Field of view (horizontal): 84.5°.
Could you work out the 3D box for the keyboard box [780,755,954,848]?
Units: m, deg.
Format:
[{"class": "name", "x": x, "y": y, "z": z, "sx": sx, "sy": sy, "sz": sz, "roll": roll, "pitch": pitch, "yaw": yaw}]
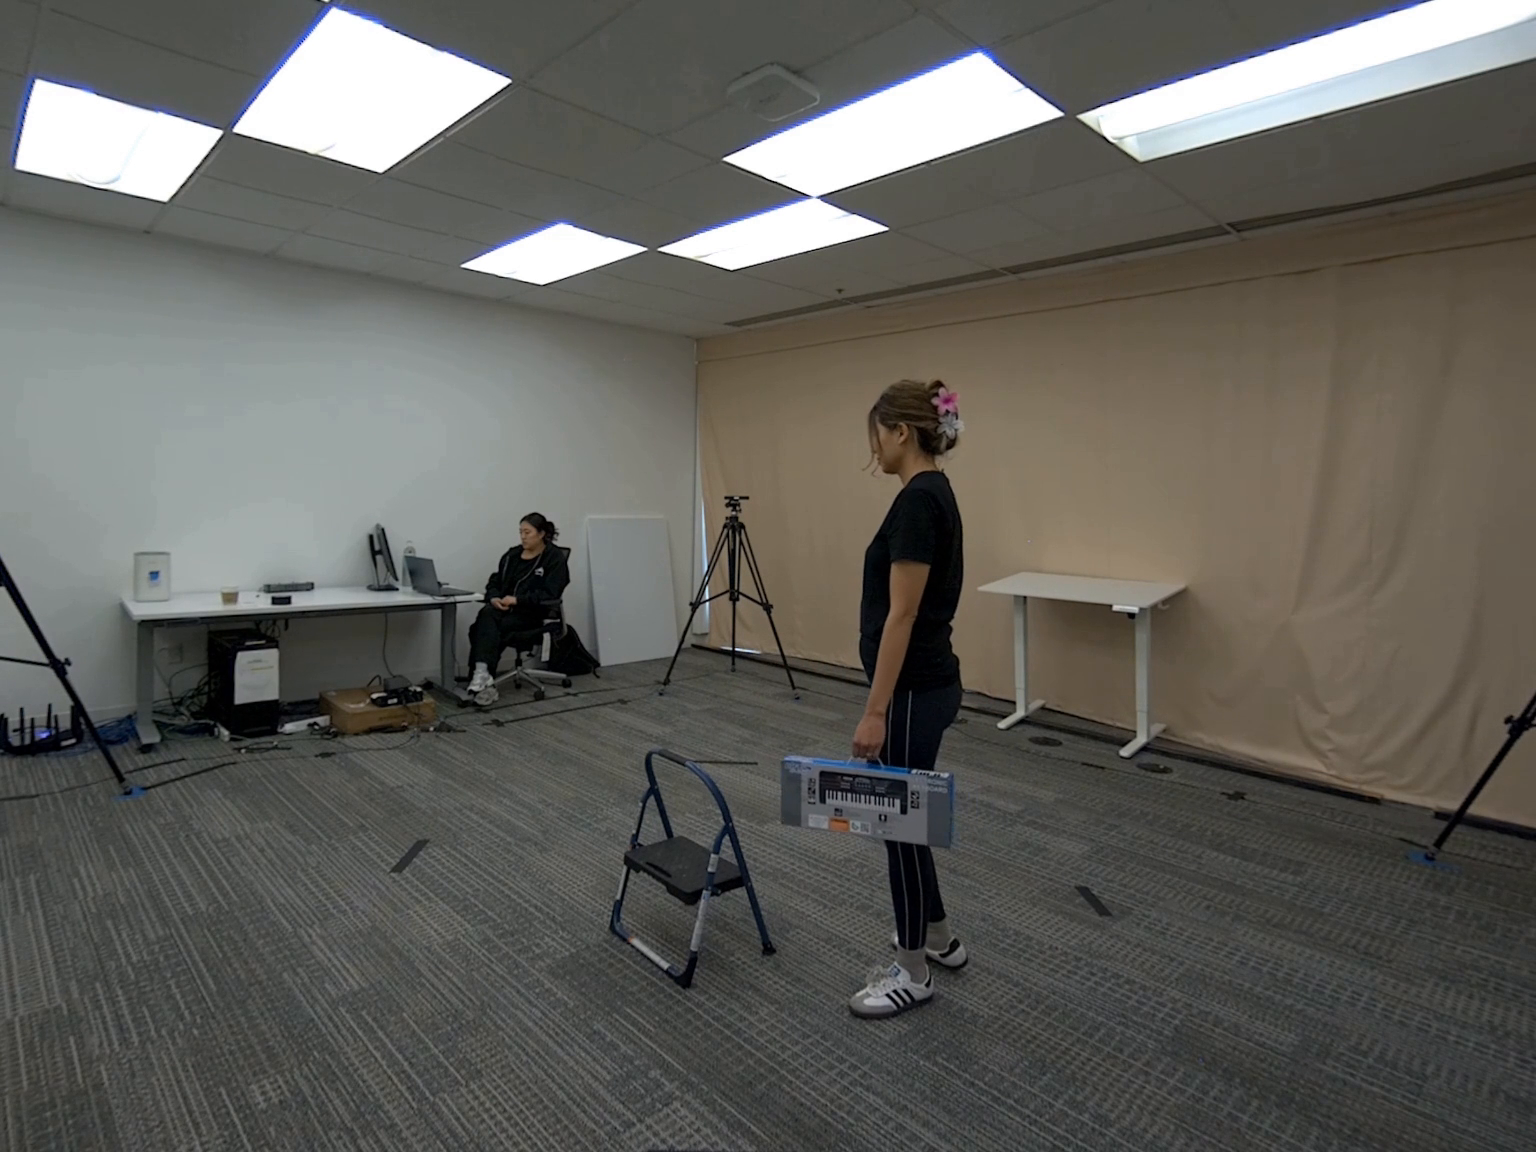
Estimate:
[{"class": "keyboard box", "x": 0.252, "y": 0.572, "z": 2.145, "sx": 0.444, "sy": 0.176, "sz": 0.058, "roll": 0, "pitch": 2, "yaw": 21}]
